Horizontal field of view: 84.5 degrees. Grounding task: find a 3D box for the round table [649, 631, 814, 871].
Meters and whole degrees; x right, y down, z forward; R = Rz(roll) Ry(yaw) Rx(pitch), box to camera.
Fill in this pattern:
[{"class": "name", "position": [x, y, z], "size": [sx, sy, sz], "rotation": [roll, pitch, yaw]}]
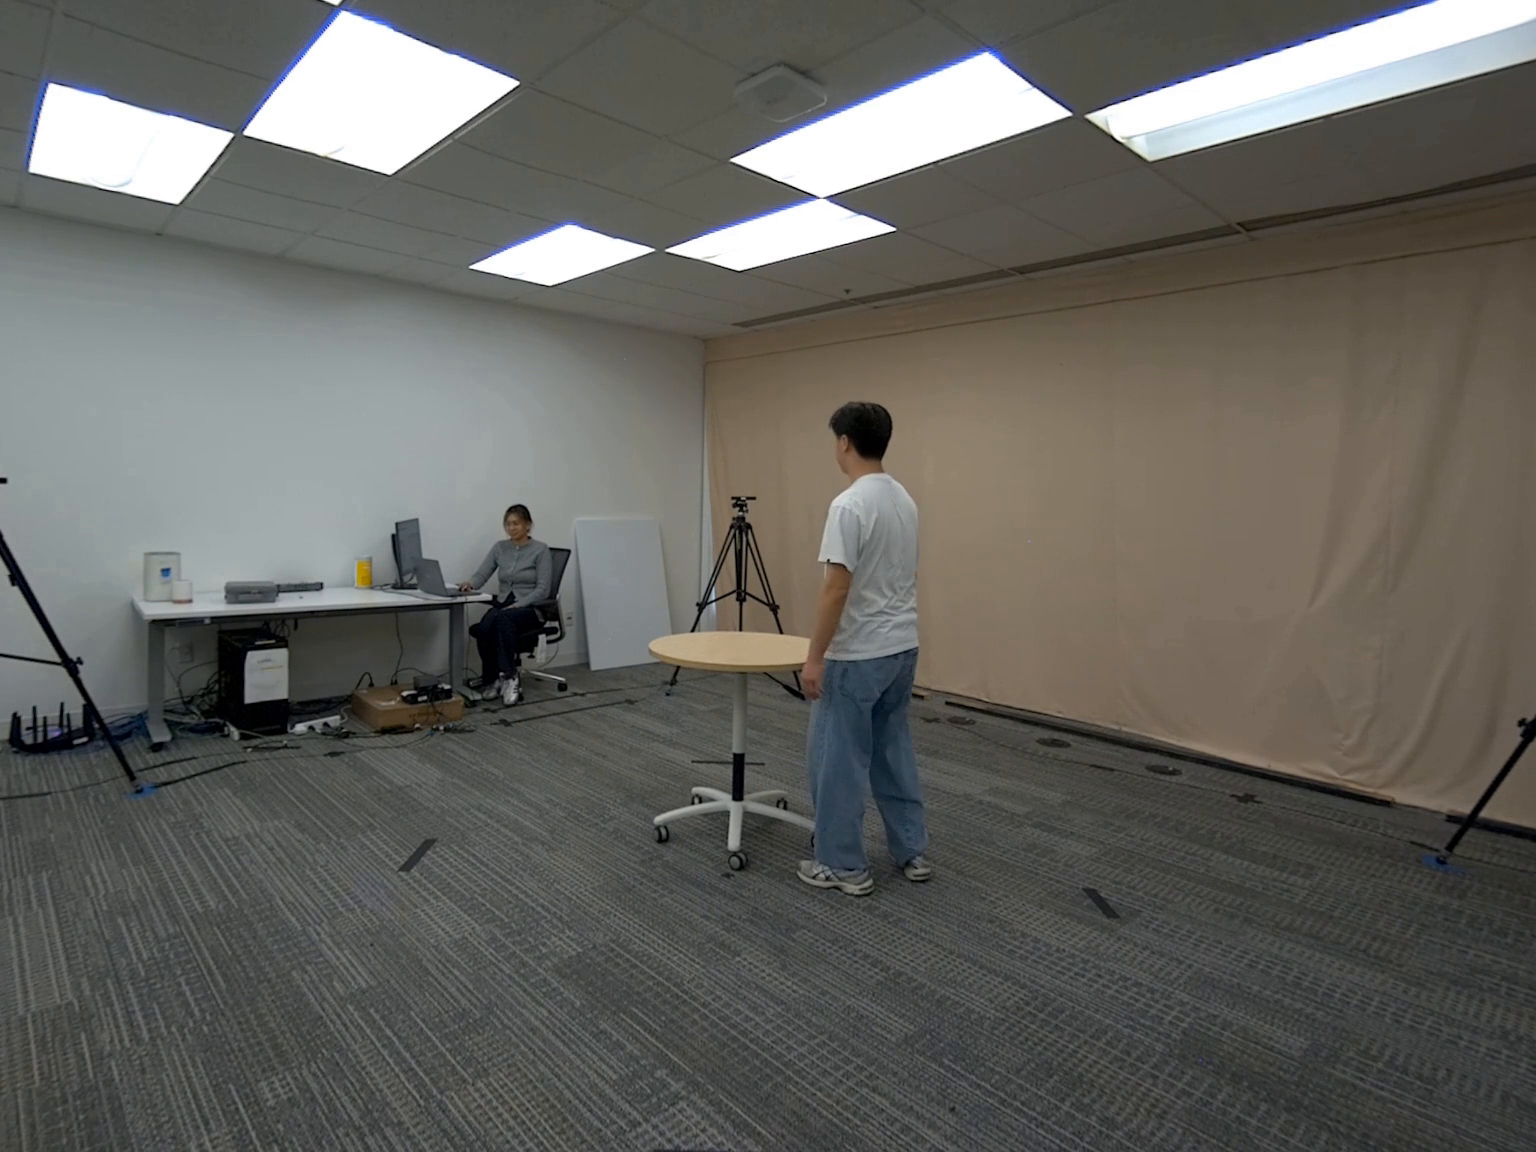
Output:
[{"class": "round table", "position": [-0.129, 0.679, 3.474], "size": [0.784, 0.784, 0.788], "rotation": [1, 4, -1]}]
